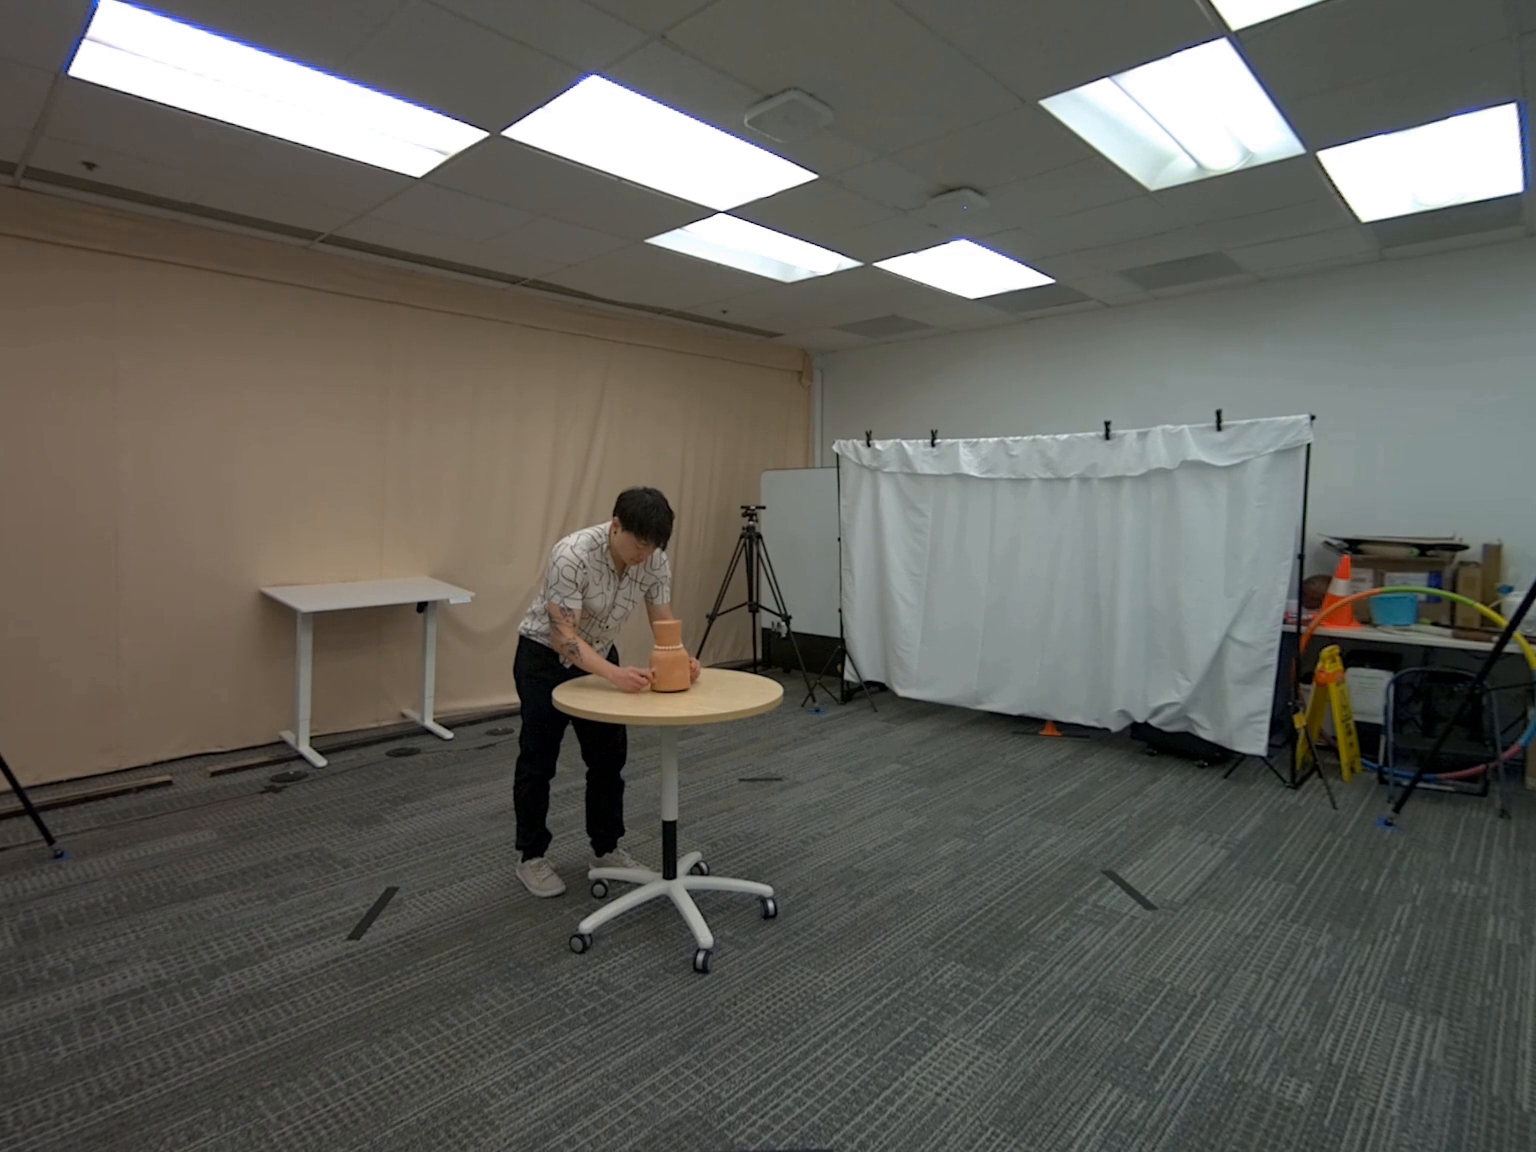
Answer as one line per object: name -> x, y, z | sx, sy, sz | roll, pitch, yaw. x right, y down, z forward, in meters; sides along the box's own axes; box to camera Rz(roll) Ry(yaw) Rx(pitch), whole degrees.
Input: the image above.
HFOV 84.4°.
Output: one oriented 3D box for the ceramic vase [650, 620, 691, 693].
ceramic vase -> -0.334, 0.263, 2.796 | 0.136, 0.220, 0.157 | -4, 1, 7
